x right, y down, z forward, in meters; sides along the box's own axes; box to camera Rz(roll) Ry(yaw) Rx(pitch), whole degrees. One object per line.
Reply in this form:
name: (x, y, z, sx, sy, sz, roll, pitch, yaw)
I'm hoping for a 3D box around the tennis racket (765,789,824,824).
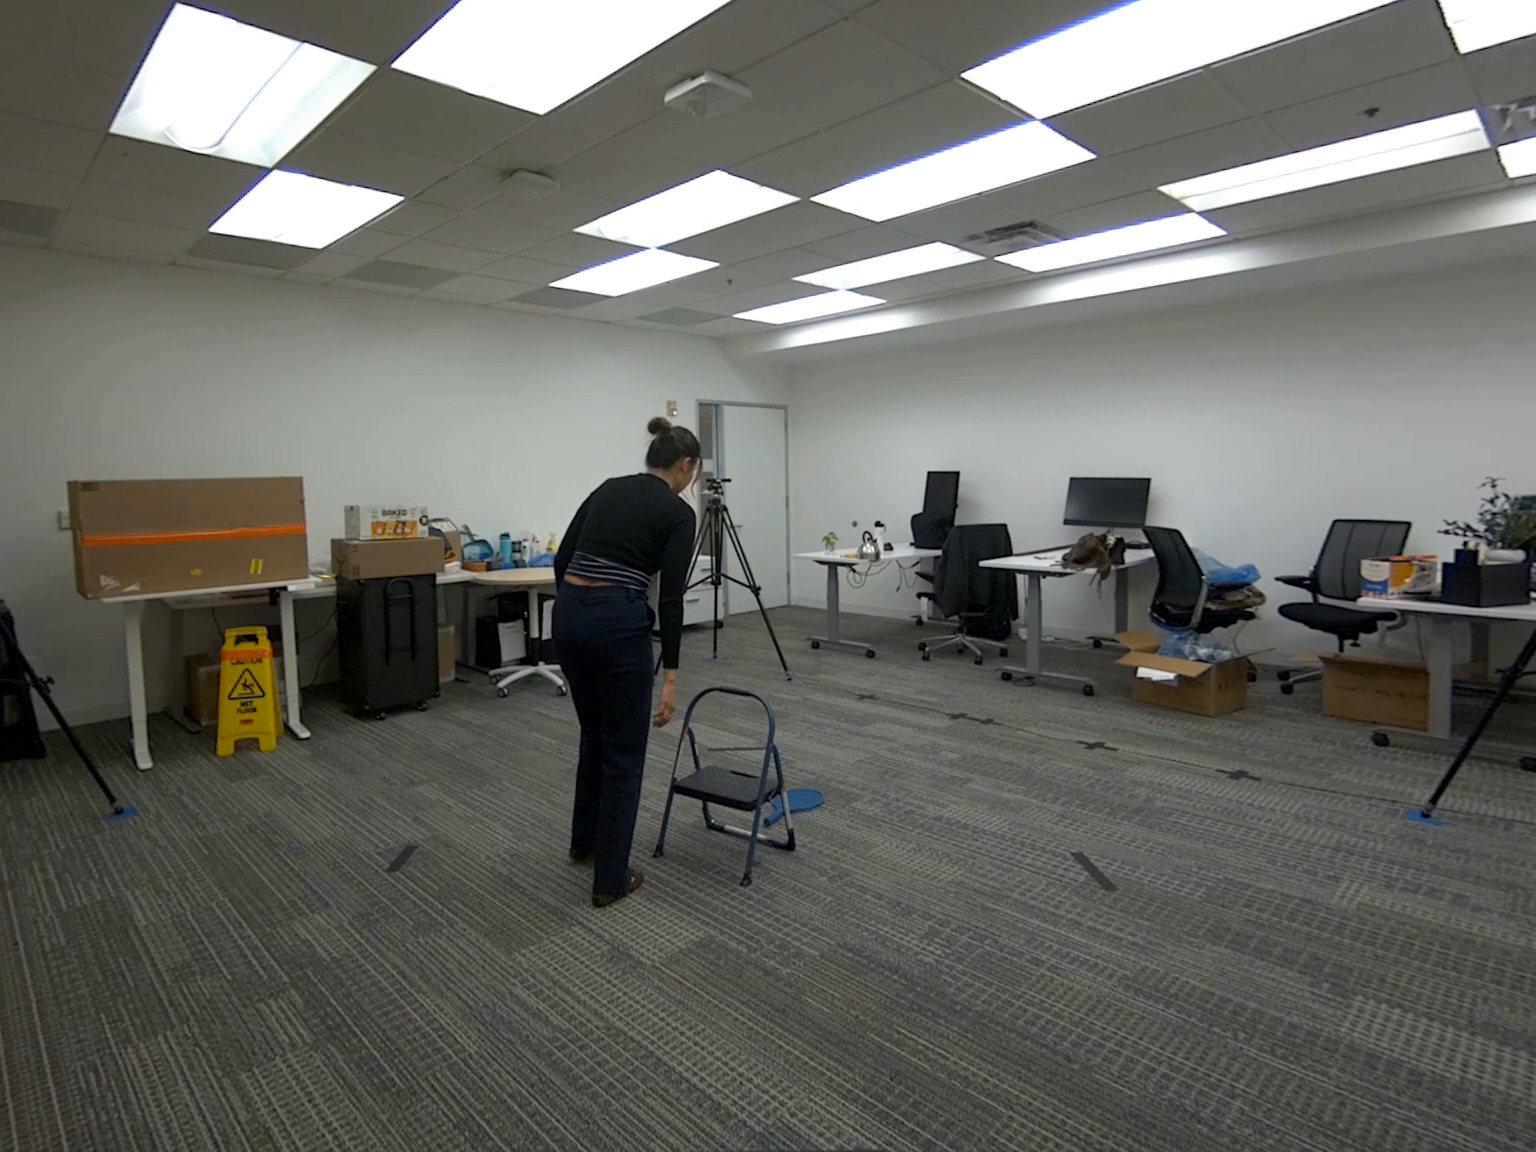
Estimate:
tennis racket: (0.090, 0.967, 3.614, 0.219, 0.031, 0.424, 2, 6, 26)
